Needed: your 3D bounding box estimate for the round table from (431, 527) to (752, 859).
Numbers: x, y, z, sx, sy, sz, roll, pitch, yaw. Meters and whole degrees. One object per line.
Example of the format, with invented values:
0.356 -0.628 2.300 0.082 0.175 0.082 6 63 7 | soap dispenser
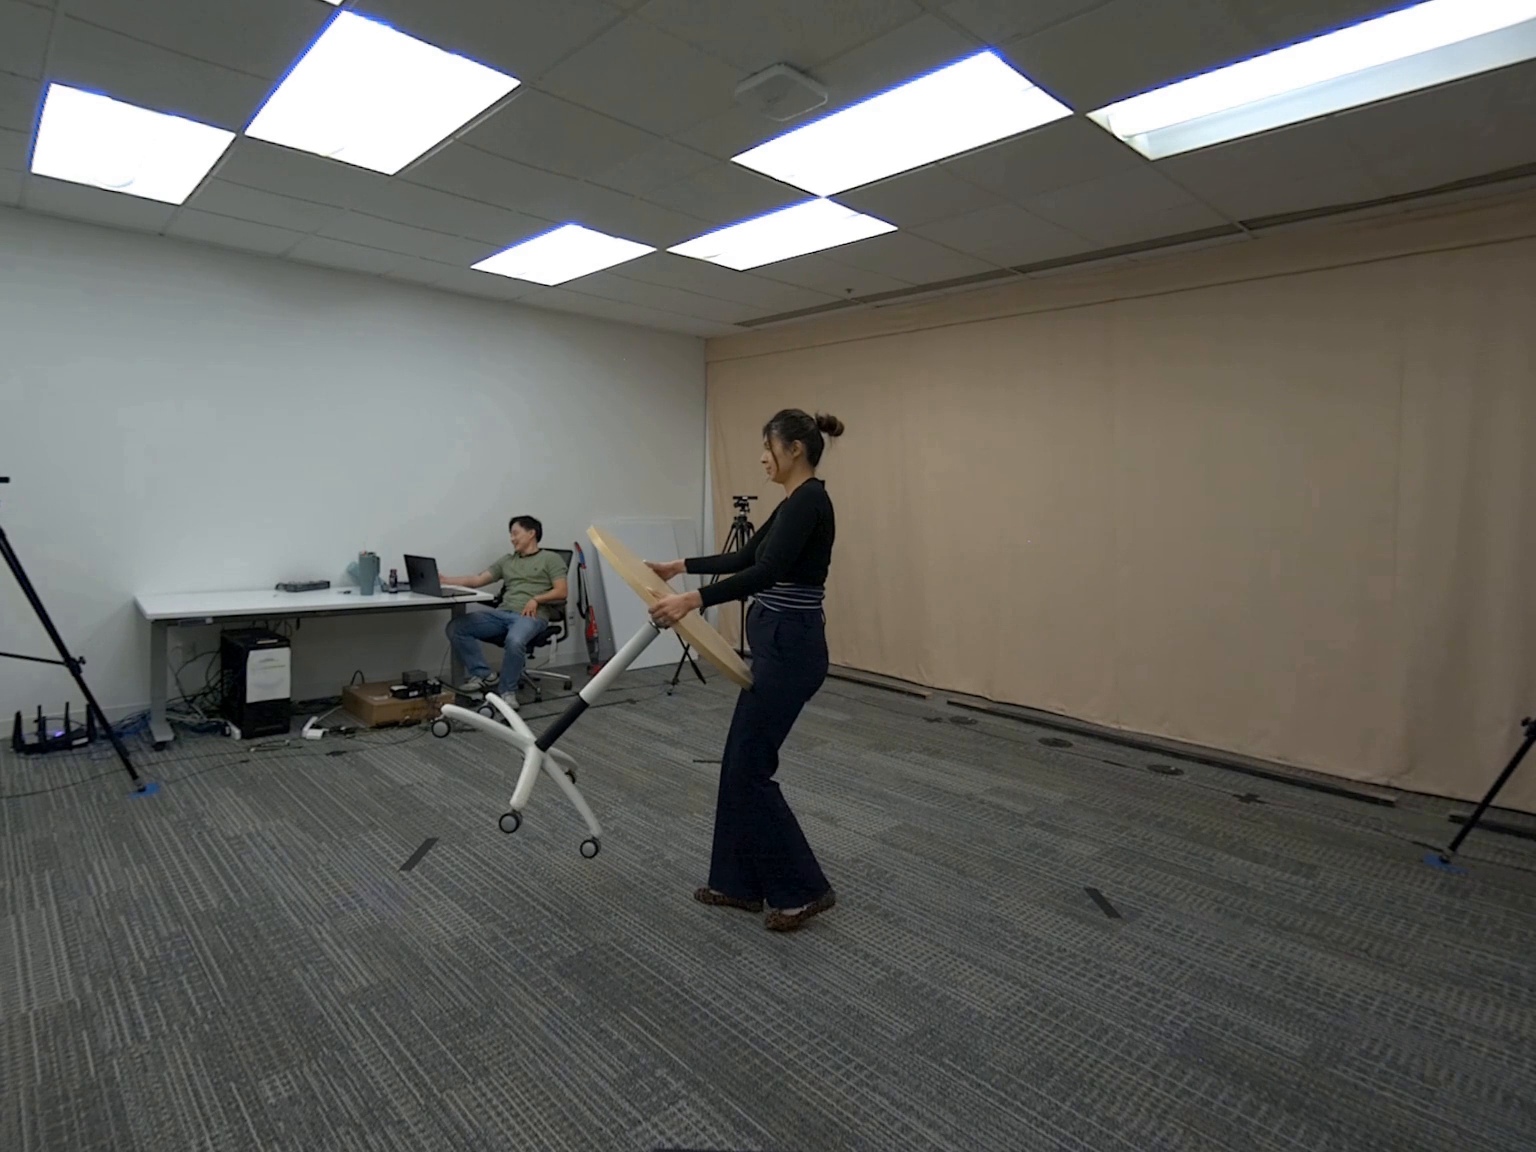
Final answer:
-0.584 0.386 2.797 0.764 0.794 0.764 43 -1 -1 | round table
